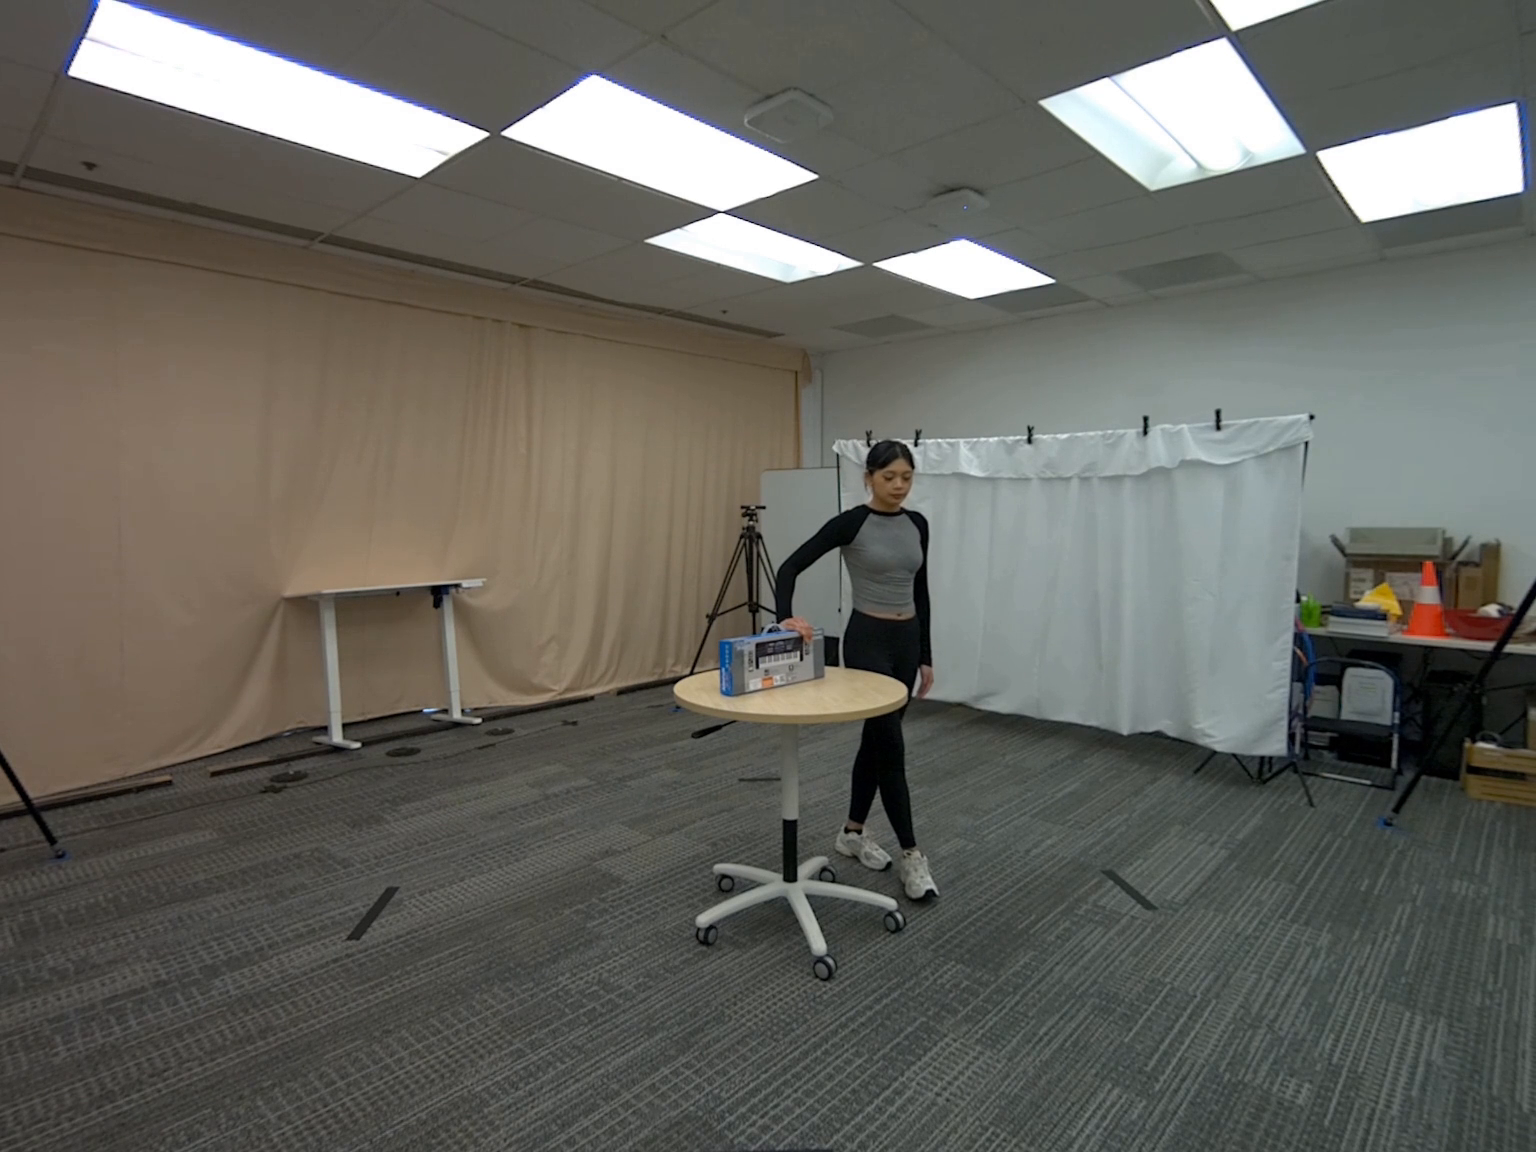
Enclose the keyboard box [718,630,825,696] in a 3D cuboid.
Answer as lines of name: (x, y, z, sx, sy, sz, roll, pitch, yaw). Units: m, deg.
keyboard box: (0.025, 0.280, 2.798, 0.423, 0.176, 0.061, -4, 3, -42)
